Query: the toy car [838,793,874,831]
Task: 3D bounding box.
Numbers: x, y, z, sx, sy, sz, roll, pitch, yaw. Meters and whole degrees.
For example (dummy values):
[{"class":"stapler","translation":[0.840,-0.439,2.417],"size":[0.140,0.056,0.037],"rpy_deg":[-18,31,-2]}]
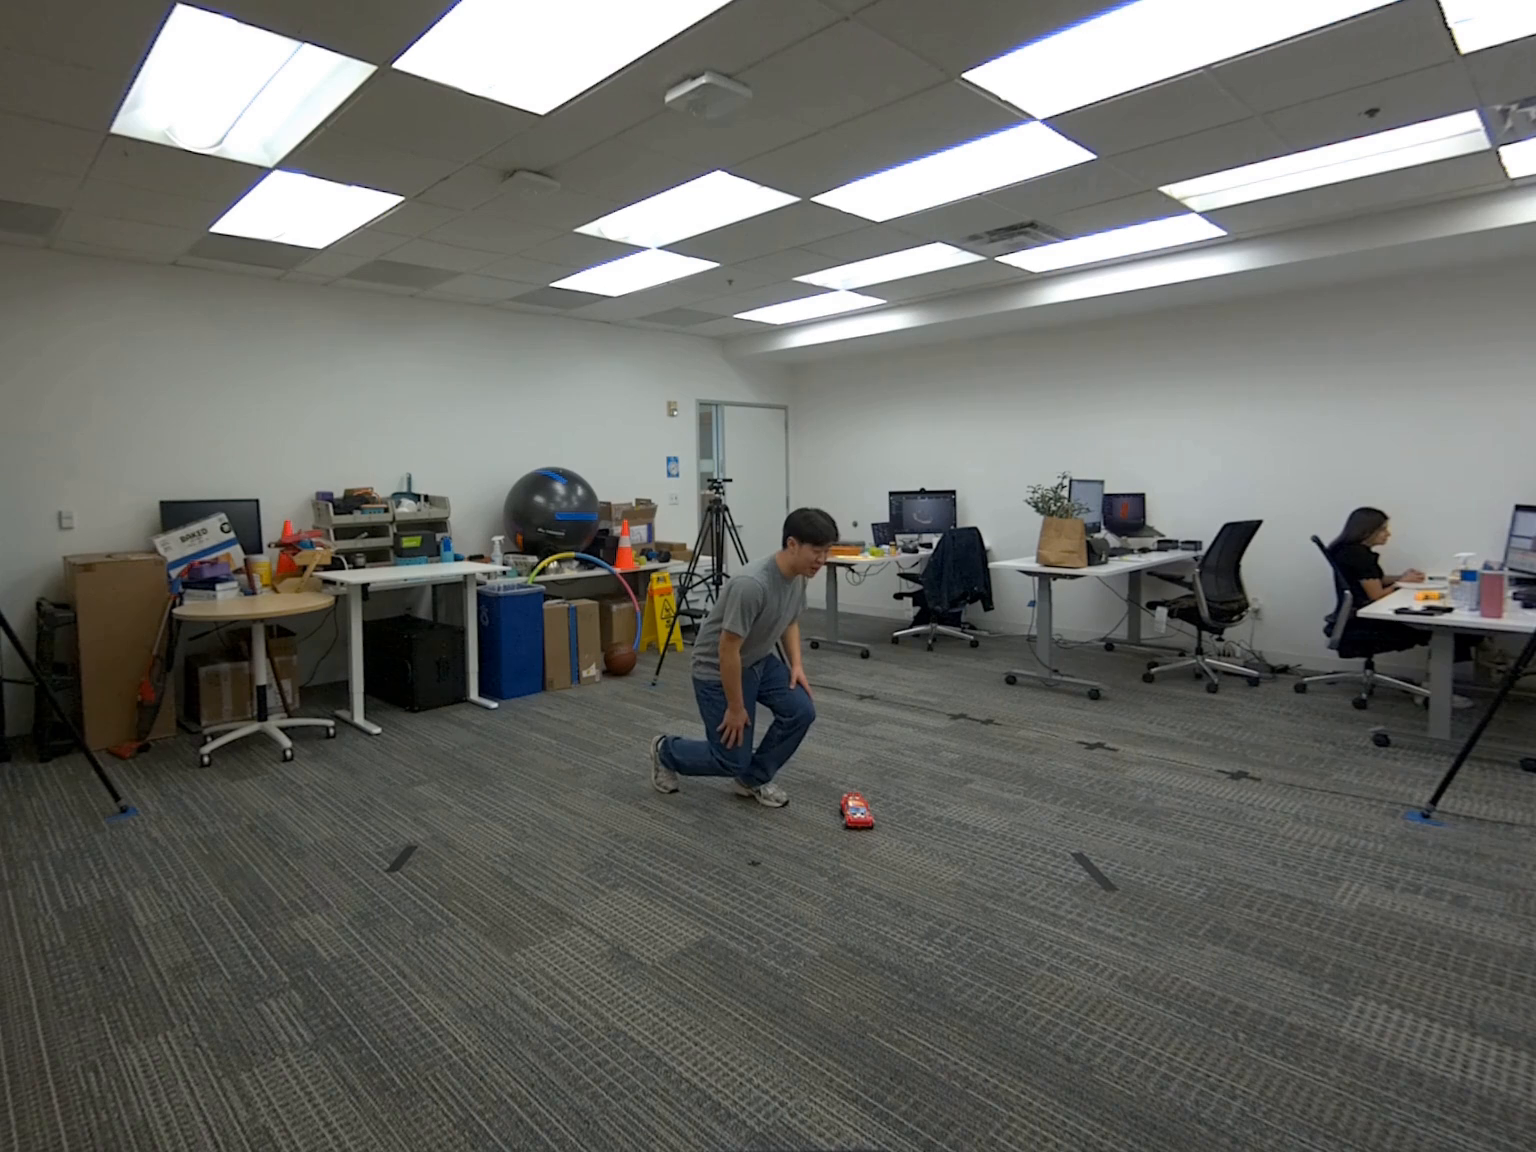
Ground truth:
[{"class":"toy car","translation":[0.364,0.961,3.496],"size":[0.130,0.082,0.258],"rpy_deg":[-3,17,0]}]
